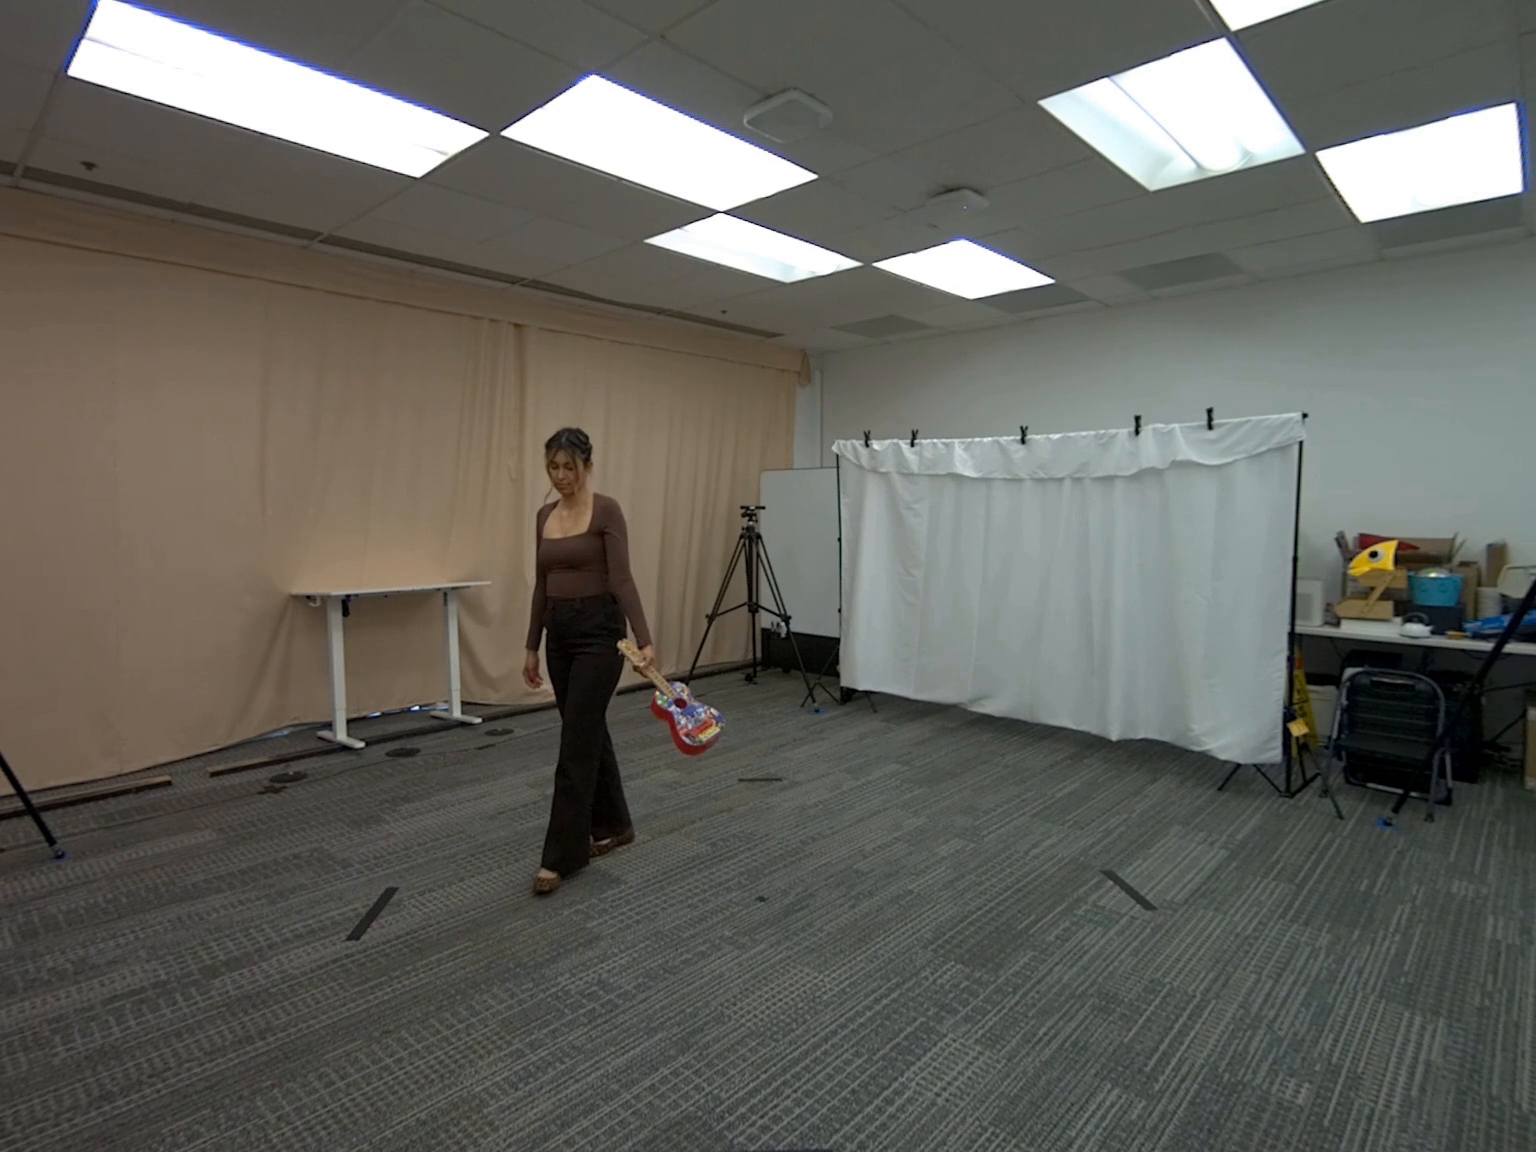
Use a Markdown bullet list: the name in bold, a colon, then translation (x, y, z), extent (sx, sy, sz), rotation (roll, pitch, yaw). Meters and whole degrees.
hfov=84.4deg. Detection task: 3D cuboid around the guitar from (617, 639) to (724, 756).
- **guitar**: translation (-0.336, 0.403, 2.998), extent (0.188, 0.070, 0.512), rotation (-18, 54, -38)
